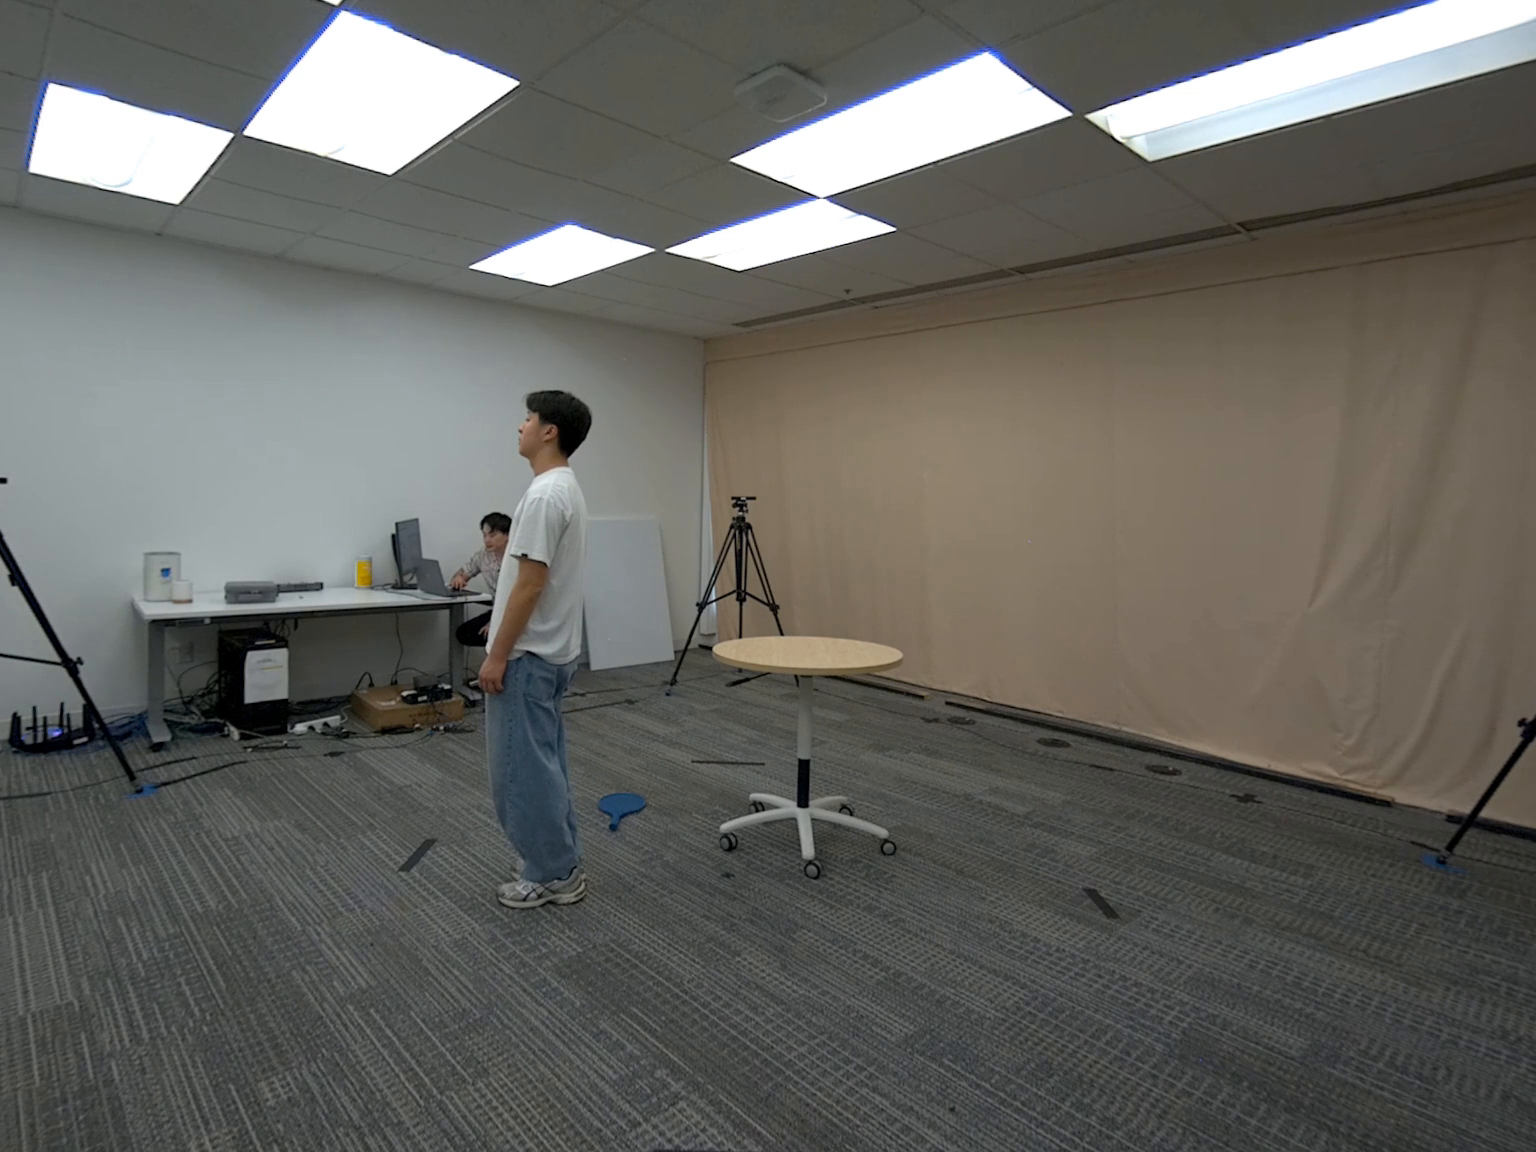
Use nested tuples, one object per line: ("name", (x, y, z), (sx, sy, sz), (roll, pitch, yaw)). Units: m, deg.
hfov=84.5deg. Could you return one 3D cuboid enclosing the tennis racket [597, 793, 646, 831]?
("tennis racket", (-0.662, 1.024, 3.699), (0.214, 0.032, 0.433), (2, 4, 0))
